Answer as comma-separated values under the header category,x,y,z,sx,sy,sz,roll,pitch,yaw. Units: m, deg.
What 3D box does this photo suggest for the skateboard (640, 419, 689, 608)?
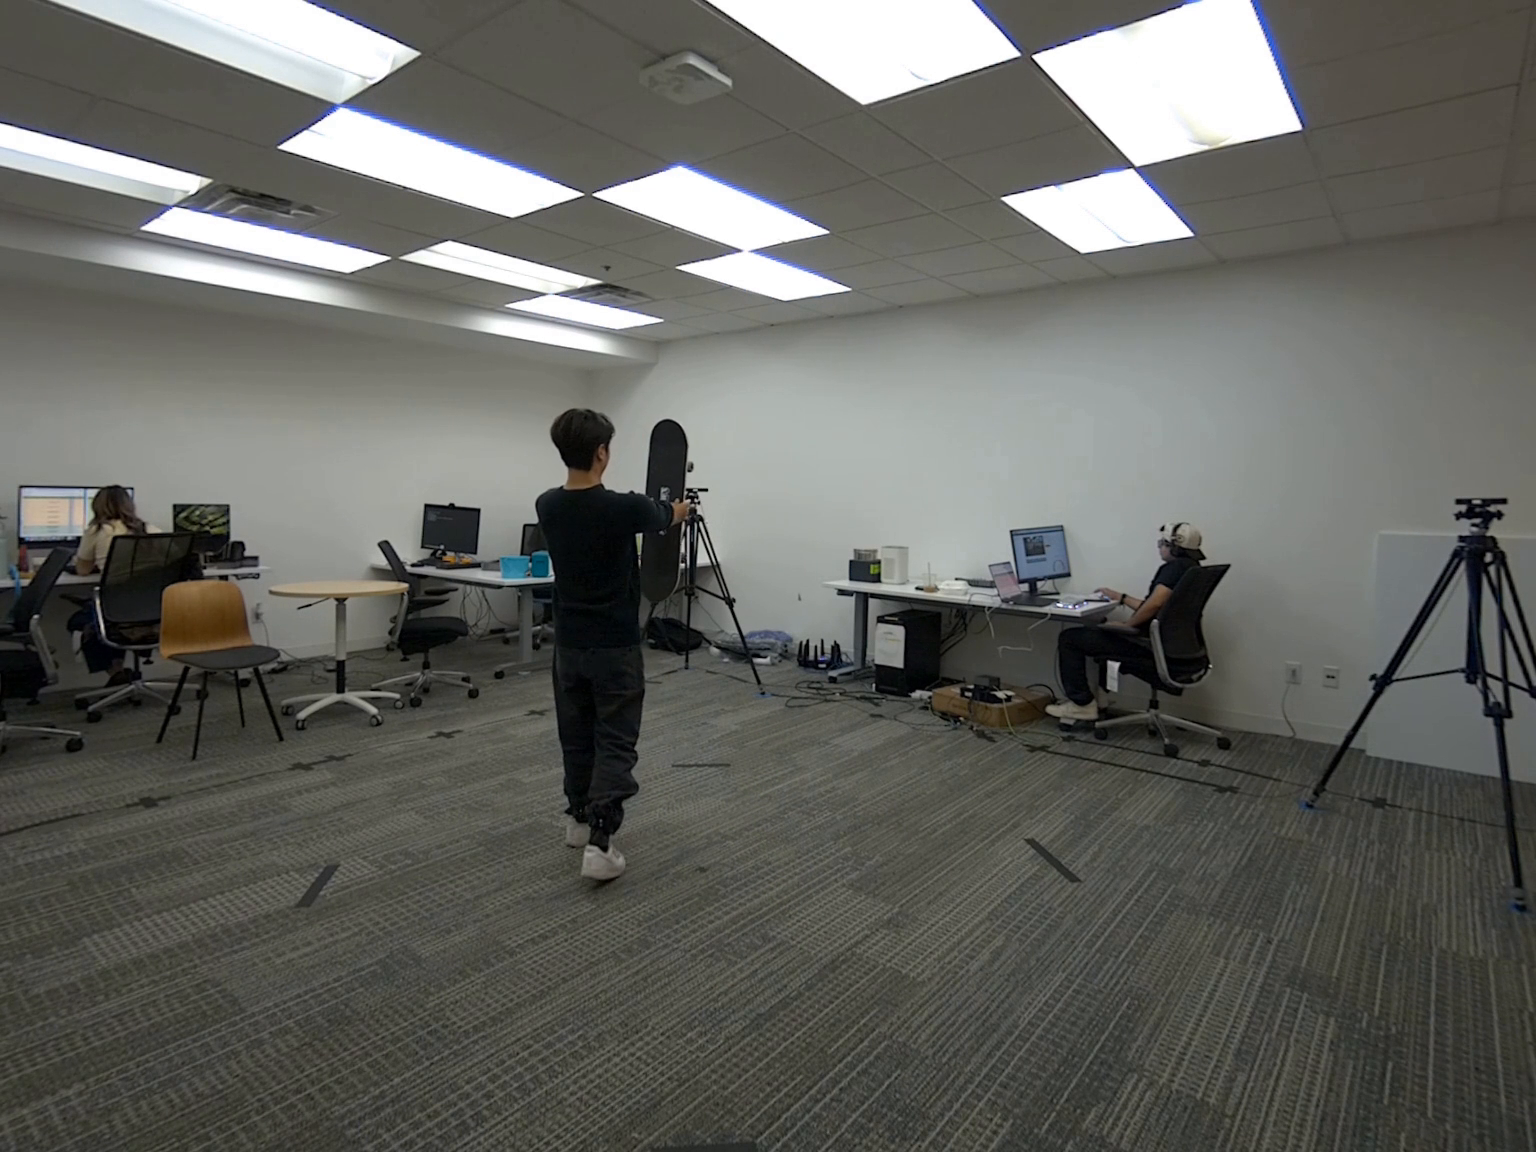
category,x,y,z,sx,sy,sz,roll,pitch,yaw
skateboard,-0.455,-0.287,3.706,0.198,0.785,0.107,5,1,24
